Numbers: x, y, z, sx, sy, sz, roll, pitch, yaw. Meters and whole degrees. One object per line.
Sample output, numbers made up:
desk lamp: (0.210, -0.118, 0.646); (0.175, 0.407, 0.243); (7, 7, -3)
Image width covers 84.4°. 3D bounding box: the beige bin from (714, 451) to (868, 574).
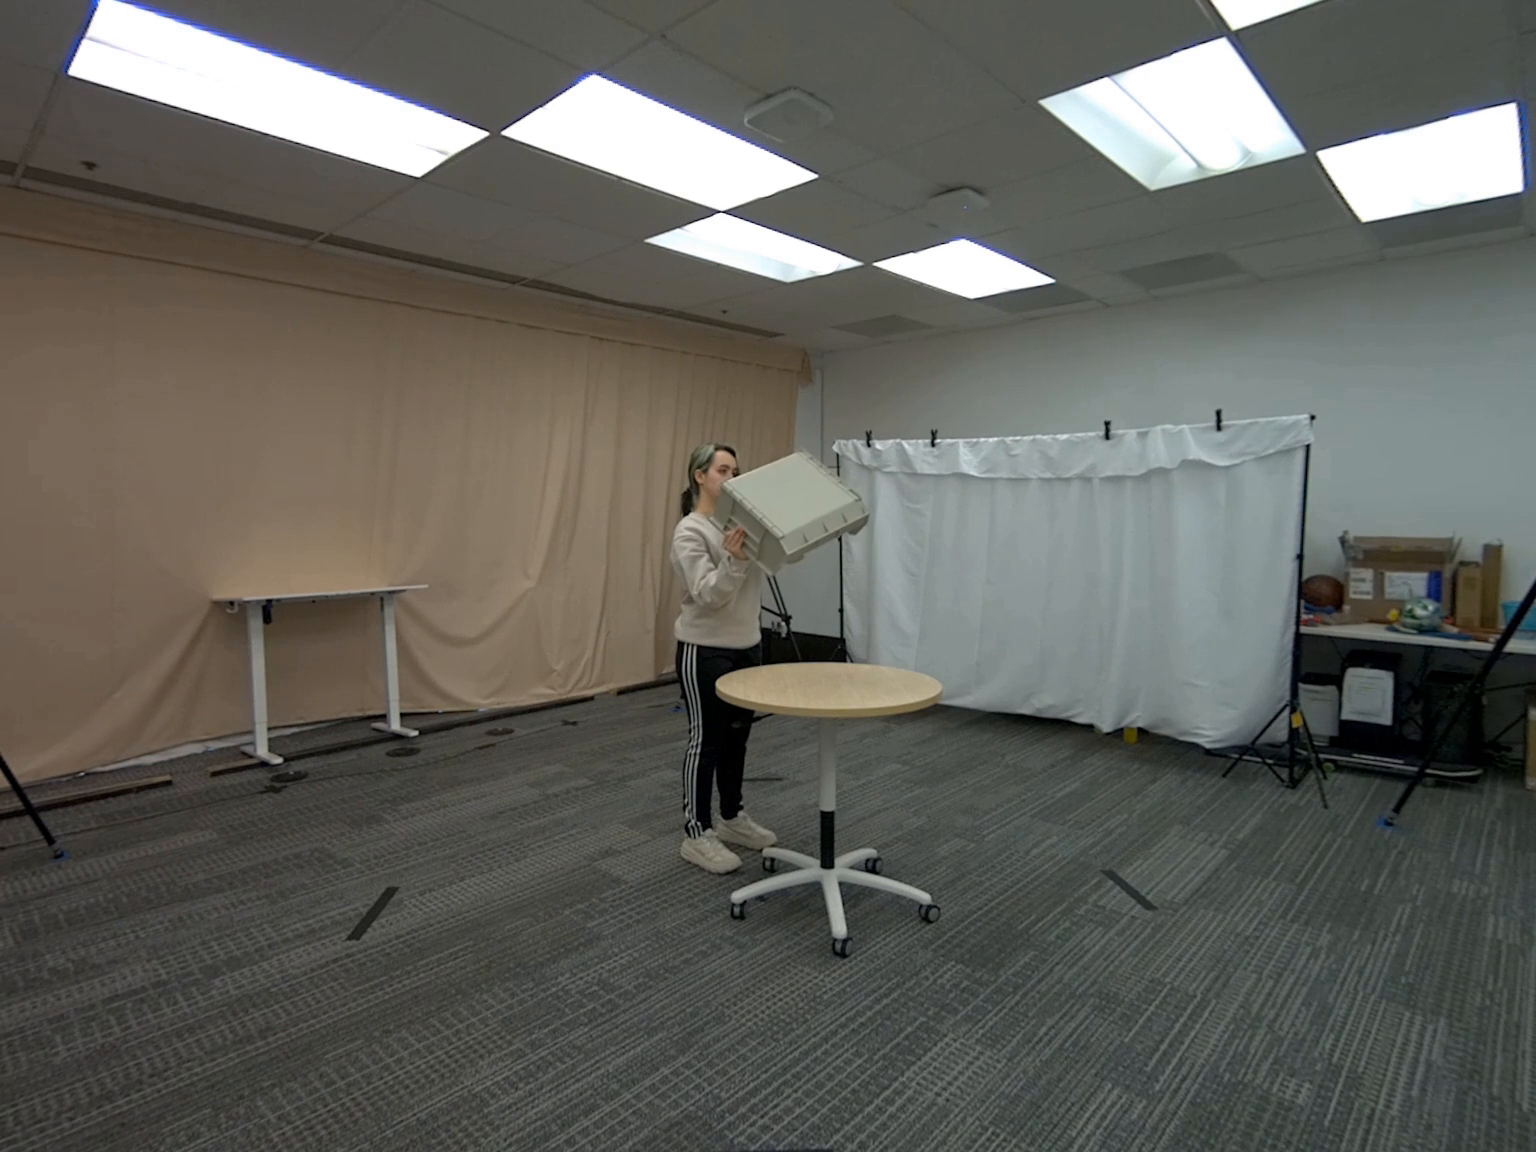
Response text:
beige bin: (0.076, -0.223, 2.957); (0.414, 0.187, 0.389); (-27, 57, -32)
